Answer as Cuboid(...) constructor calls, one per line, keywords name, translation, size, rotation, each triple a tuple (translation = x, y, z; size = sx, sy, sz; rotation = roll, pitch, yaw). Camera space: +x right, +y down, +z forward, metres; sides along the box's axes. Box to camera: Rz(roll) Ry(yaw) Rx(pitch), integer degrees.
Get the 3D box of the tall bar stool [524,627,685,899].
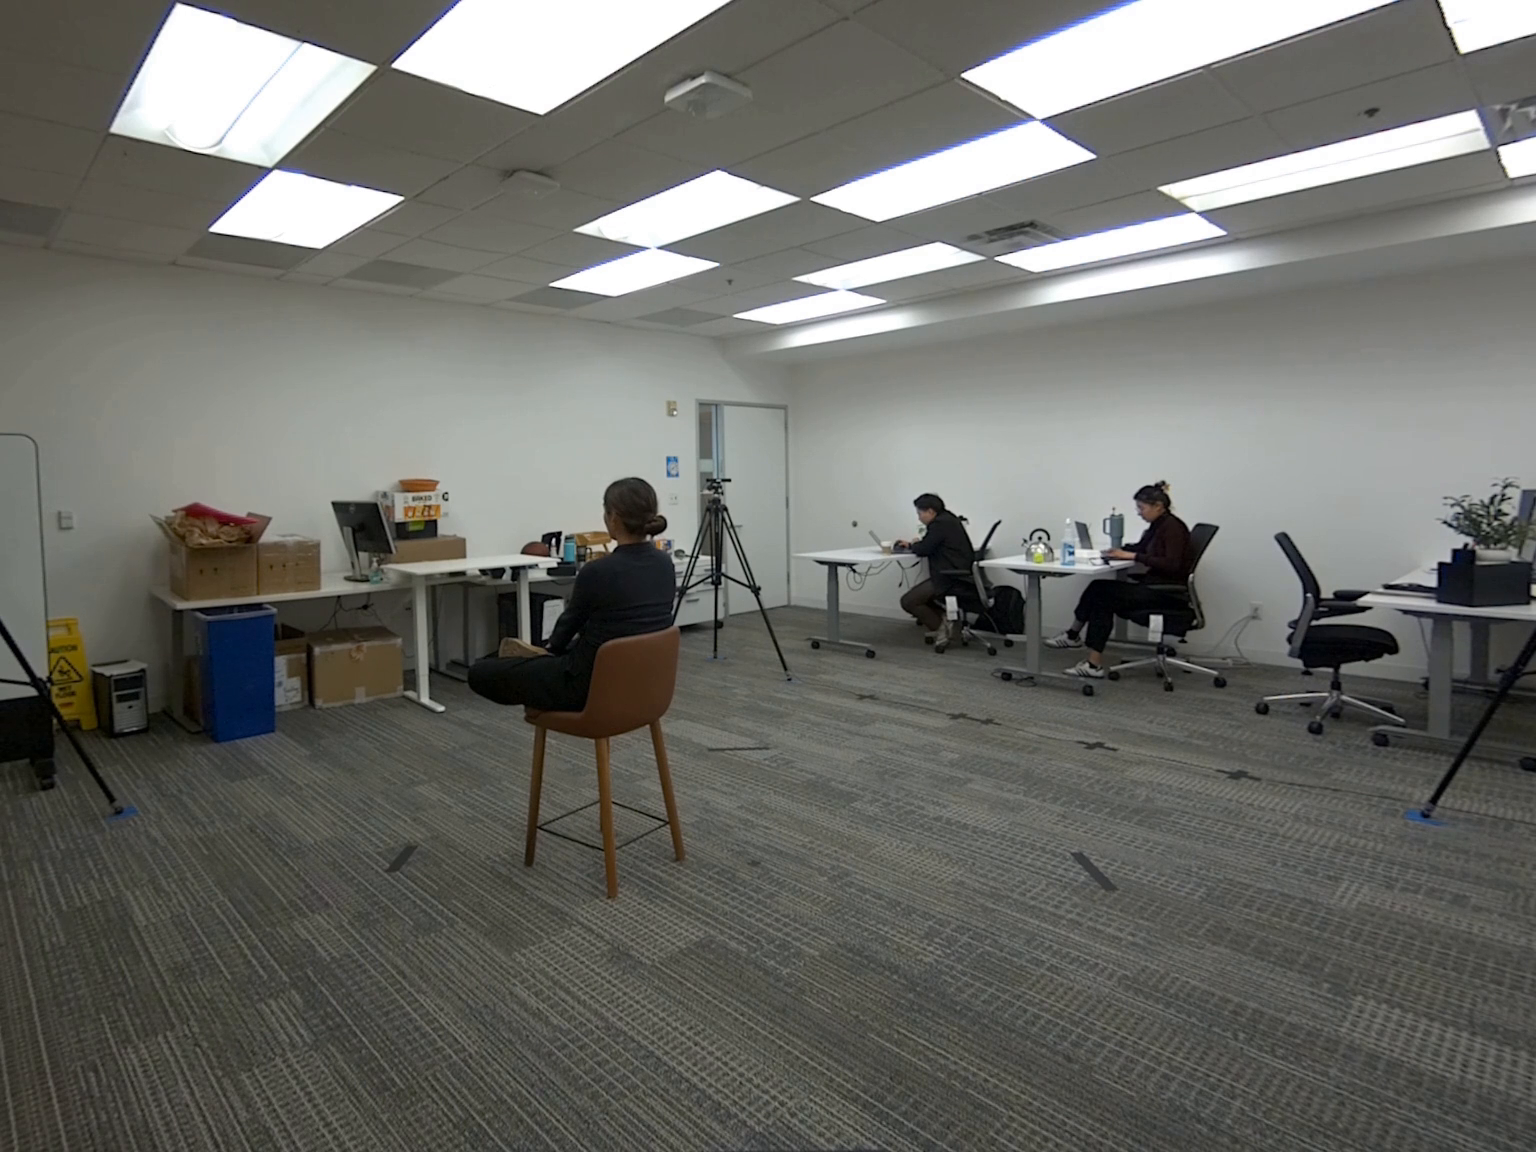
Cuboid(name="tall bar stool", translation=(-0.595, 0.621, 3.110), size=(0.482, 0.885, 0.445), rotation=(4, 7, 37))
